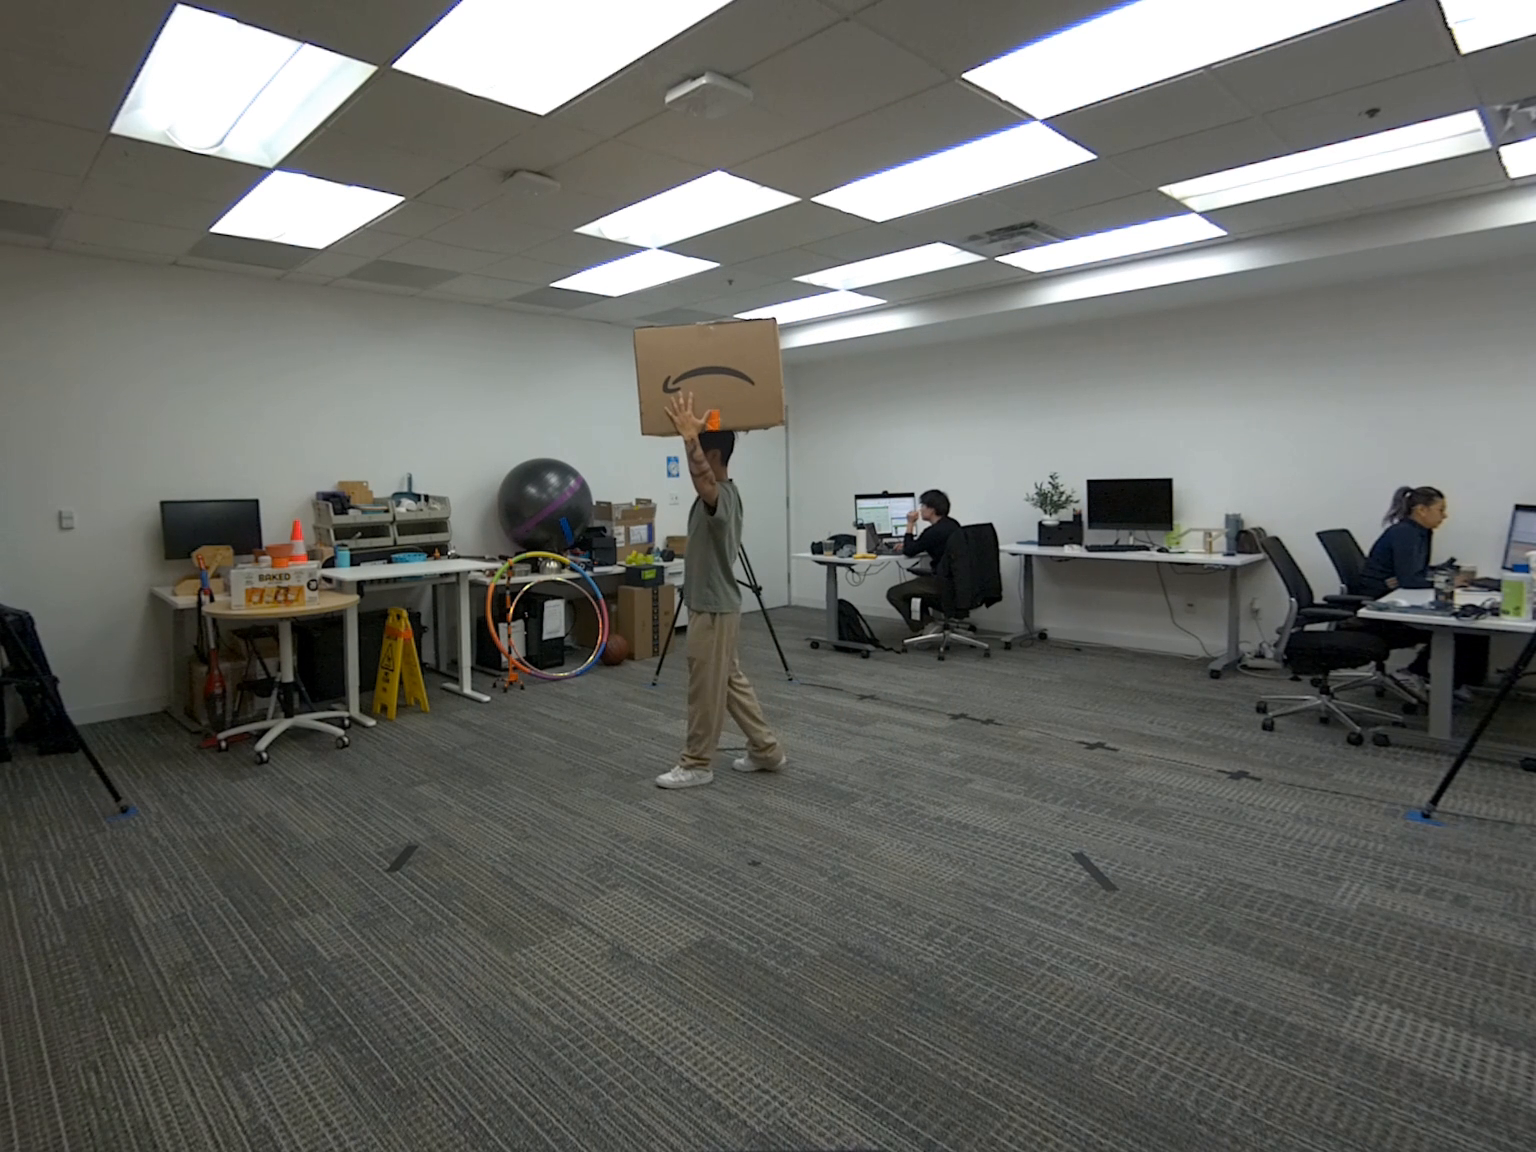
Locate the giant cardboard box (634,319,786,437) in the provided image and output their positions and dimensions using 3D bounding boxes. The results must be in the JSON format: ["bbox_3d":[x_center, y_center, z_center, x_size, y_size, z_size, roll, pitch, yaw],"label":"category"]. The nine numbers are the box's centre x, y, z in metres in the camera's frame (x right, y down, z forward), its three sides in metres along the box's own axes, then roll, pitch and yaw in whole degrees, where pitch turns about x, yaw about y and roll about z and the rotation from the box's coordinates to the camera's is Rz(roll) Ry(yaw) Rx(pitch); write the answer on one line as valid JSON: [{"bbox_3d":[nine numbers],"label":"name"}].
[{"bbox_3d":[-0.258,-0.882,3.894,0.577,0.422,1.035,-5,10,-1],"label":"giant cardboard box"}]
